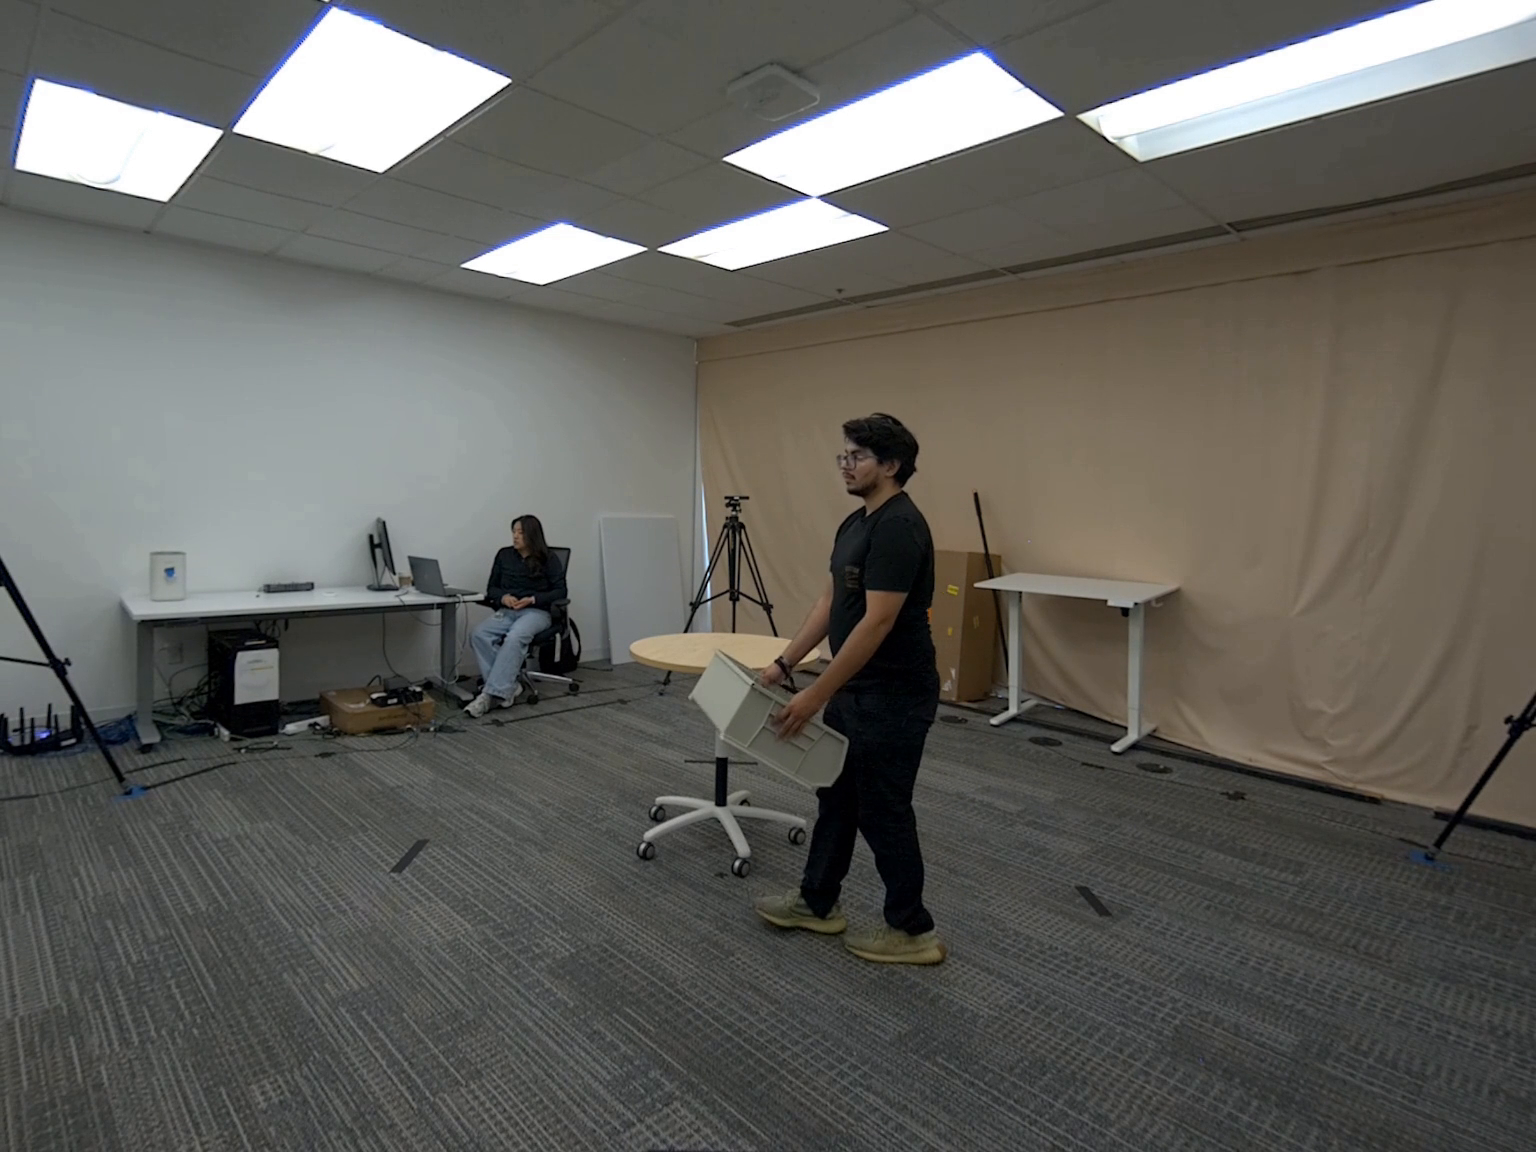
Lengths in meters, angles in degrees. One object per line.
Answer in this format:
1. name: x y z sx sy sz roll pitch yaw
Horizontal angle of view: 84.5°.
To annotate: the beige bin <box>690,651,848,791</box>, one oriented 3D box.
1. beige bin: -0.010 0.431 2.521 0.370 0.189 0.430 32 -2 -19
